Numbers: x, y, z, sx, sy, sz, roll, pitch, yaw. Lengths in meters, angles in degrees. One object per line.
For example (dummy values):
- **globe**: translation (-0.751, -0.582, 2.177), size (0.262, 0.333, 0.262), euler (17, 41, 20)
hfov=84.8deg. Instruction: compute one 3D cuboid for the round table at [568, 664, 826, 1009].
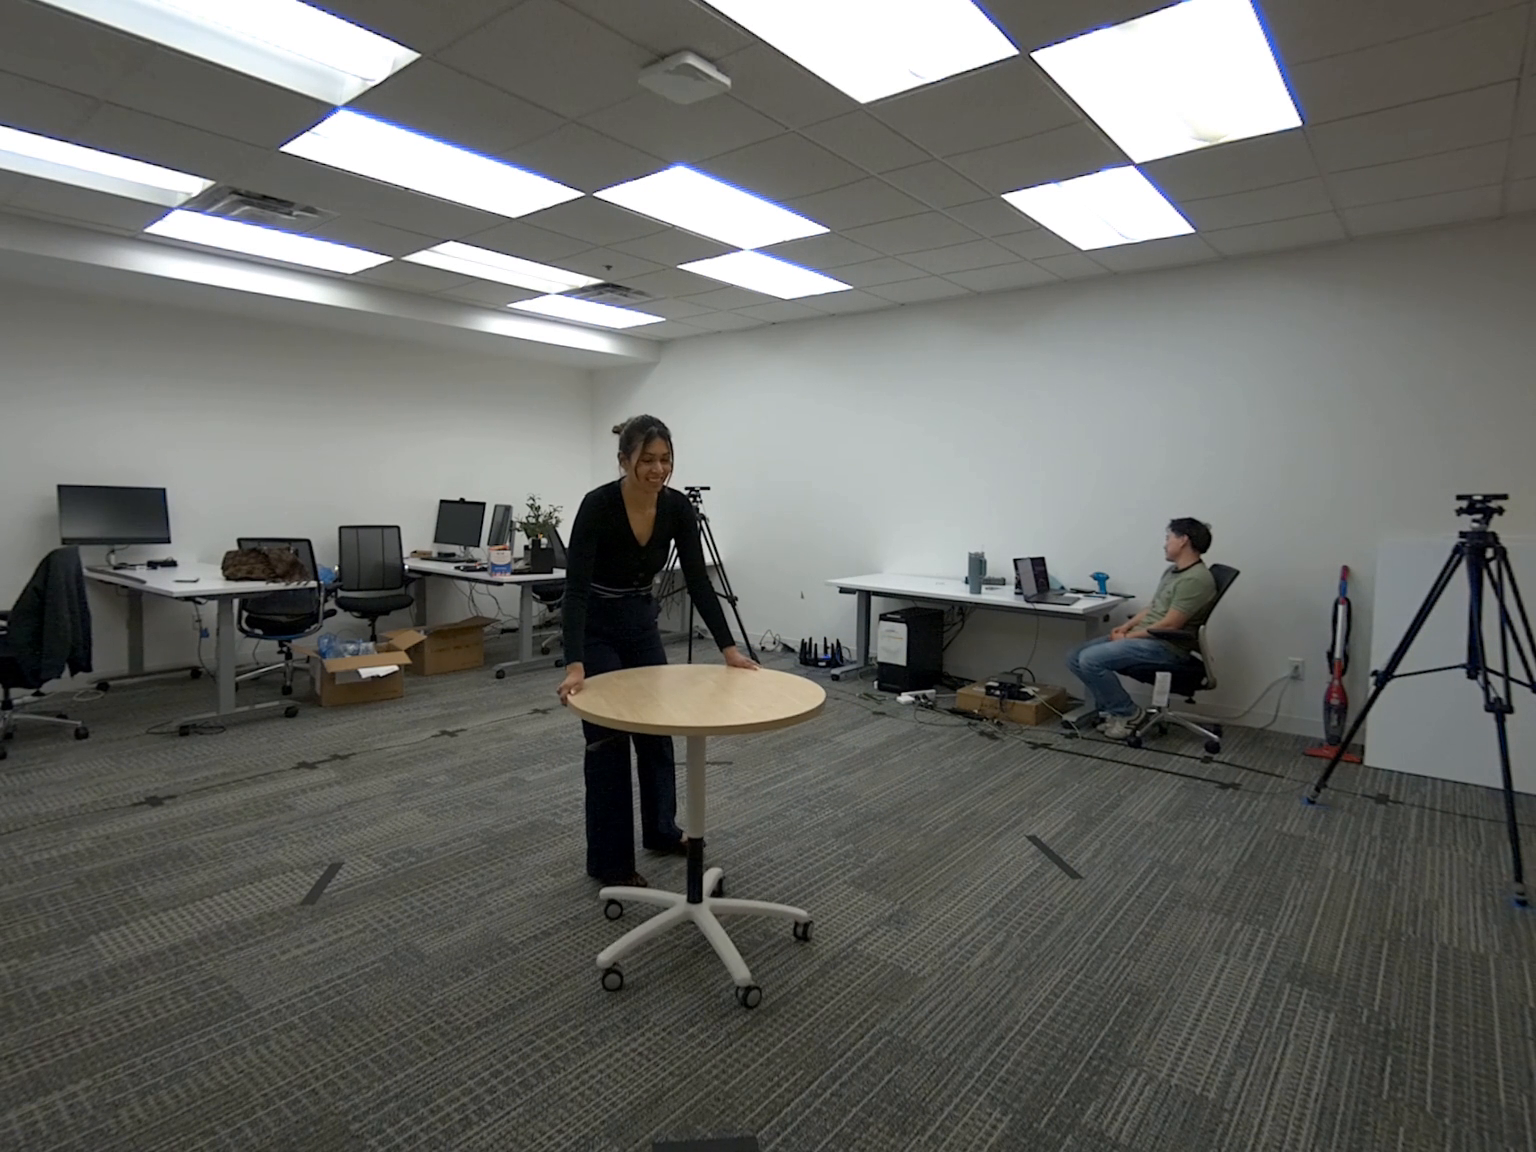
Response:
- **round table**: translation (-0.220, 0.730, 2.571), size (0.763, 0.791, 0.768), euler (1, 4, -2)
